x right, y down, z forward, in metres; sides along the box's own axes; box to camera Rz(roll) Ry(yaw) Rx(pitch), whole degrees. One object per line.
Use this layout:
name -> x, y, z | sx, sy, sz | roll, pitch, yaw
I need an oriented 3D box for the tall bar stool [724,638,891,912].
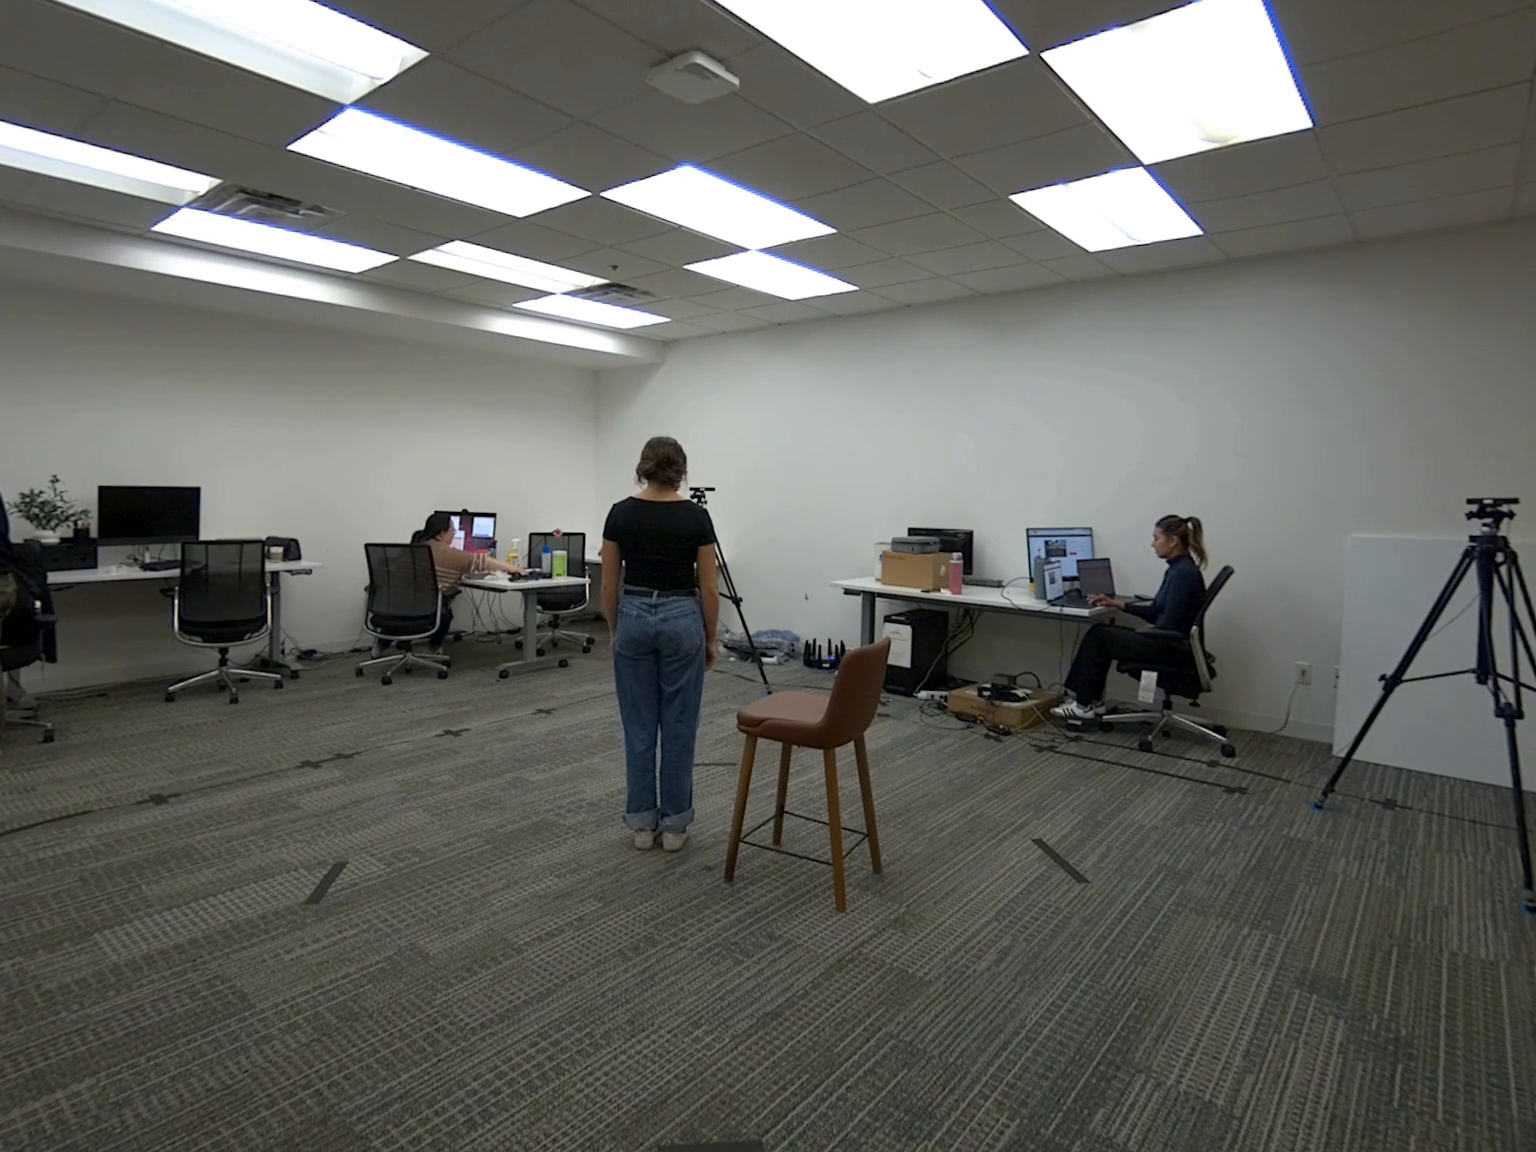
tall bar stool -> 0.144, 0.646, 3.048 | 0.482, 0.887, 0.445 | 5, 5, 30
